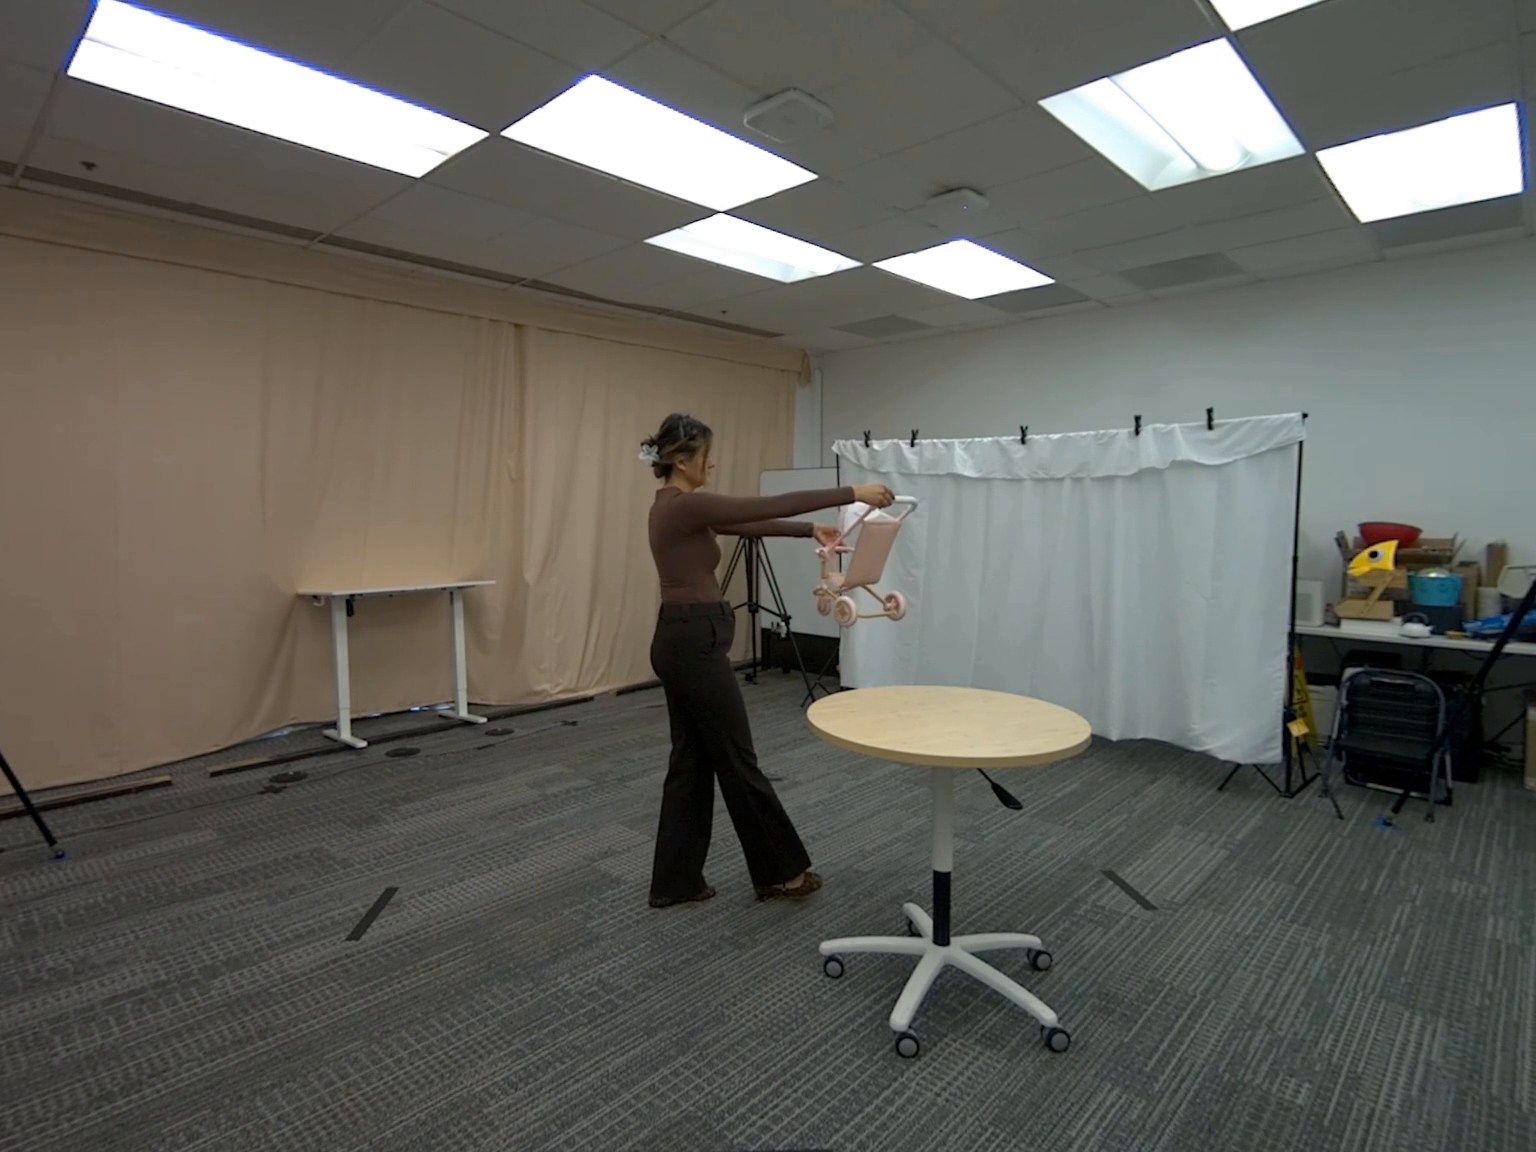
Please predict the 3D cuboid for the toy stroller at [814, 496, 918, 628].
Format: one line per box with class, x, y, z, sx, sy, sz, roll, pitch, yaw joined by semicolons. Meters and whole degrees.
toy stroller;0.335;-0.064;3.067;0.273;0.531;0.353;-2;18;-33
